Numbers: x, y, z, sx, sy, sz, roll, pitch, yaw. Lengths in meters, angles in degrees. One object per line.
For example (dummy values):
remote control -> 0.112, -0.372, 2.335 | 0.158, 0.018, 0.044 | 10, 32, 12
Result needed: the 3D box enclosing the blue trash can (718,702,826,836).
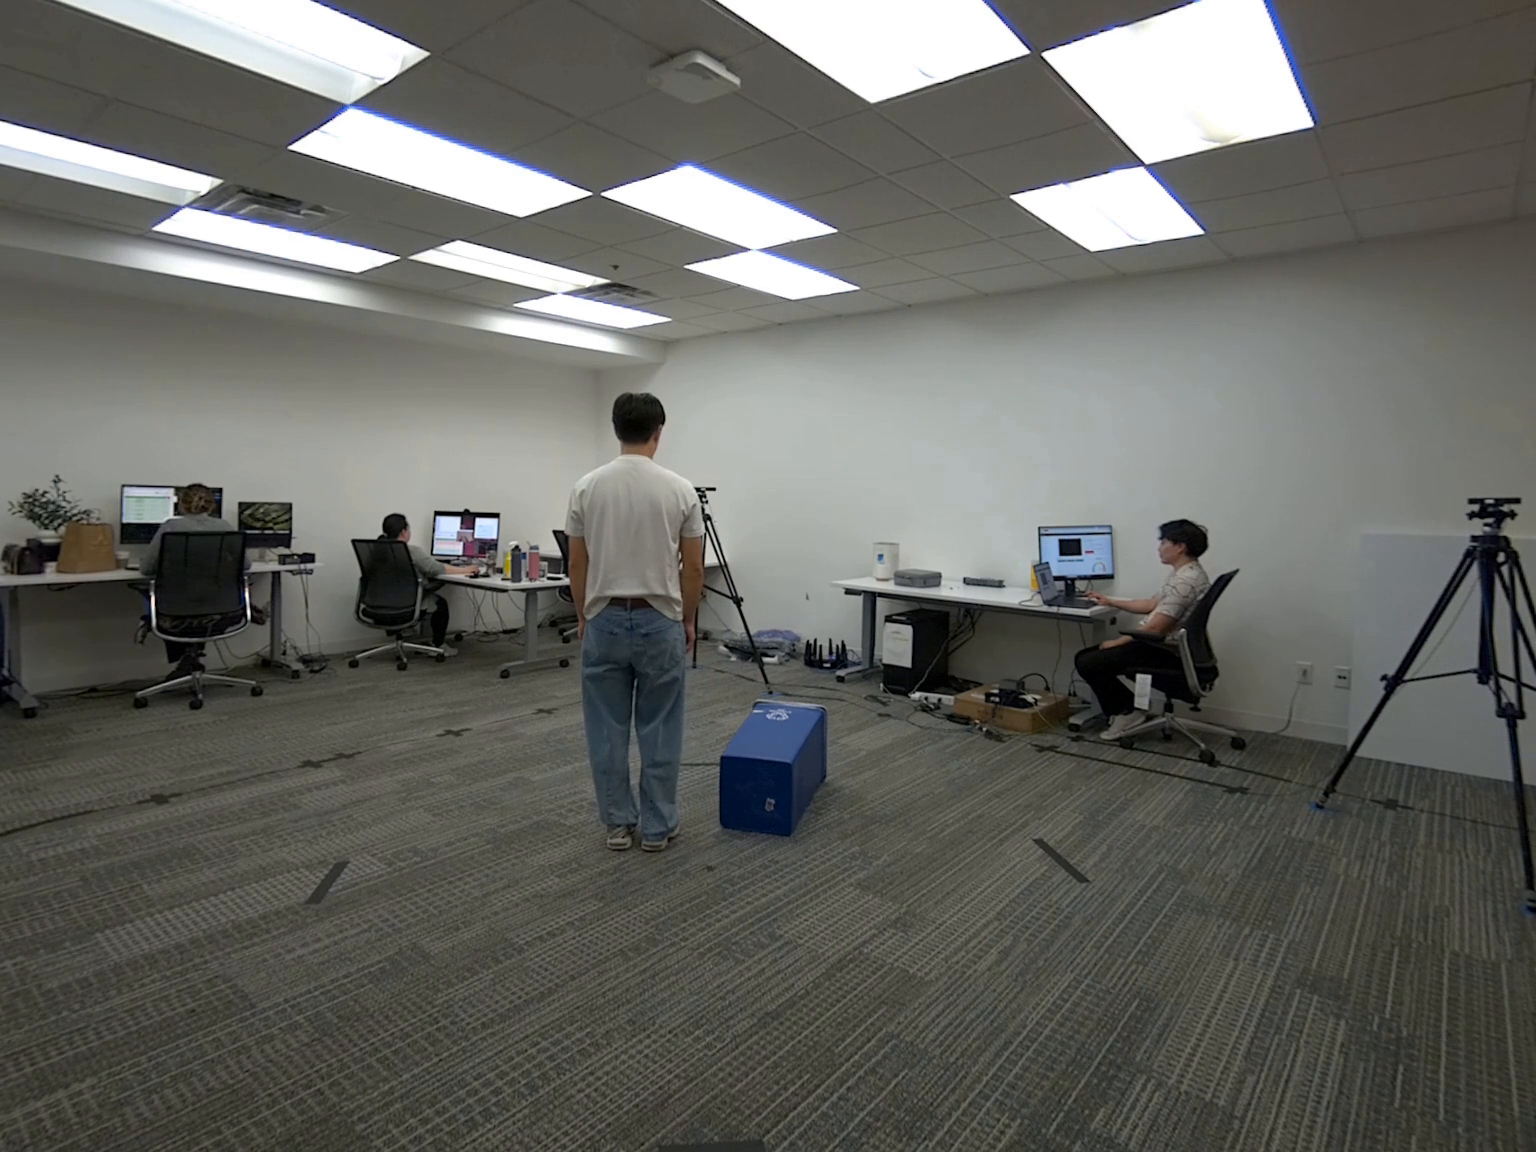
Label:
blue trash can -> 0.024, 0.838, 3.772 | 0.380, 0.375, 0.707 | 2, 8, 13
